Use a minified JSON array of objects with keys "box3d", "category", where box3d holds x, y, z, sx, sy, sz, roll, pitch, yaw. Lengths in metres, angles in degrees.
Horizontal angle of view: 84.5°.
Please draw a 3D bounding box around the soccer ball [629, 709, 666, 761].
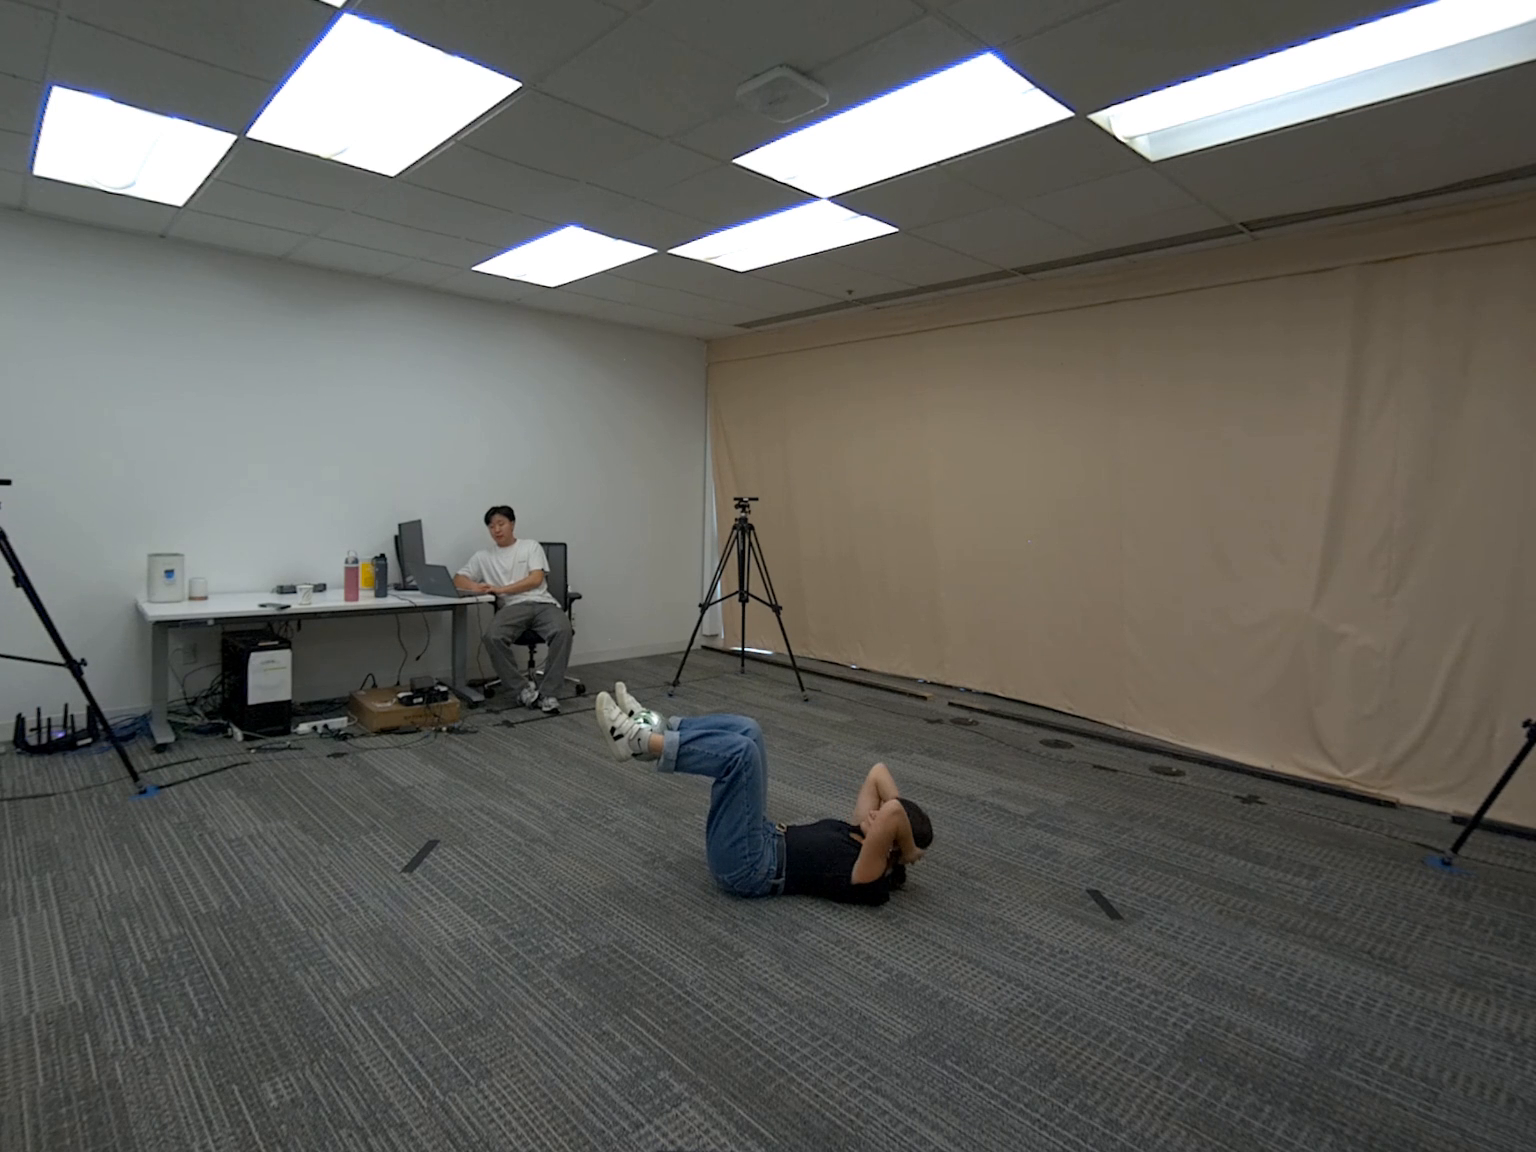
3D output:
[{"box3d":[-0.451,0.594,3.082,0.187,0.186,0.188,1,7,-1],"category":"soccer ball"}]
